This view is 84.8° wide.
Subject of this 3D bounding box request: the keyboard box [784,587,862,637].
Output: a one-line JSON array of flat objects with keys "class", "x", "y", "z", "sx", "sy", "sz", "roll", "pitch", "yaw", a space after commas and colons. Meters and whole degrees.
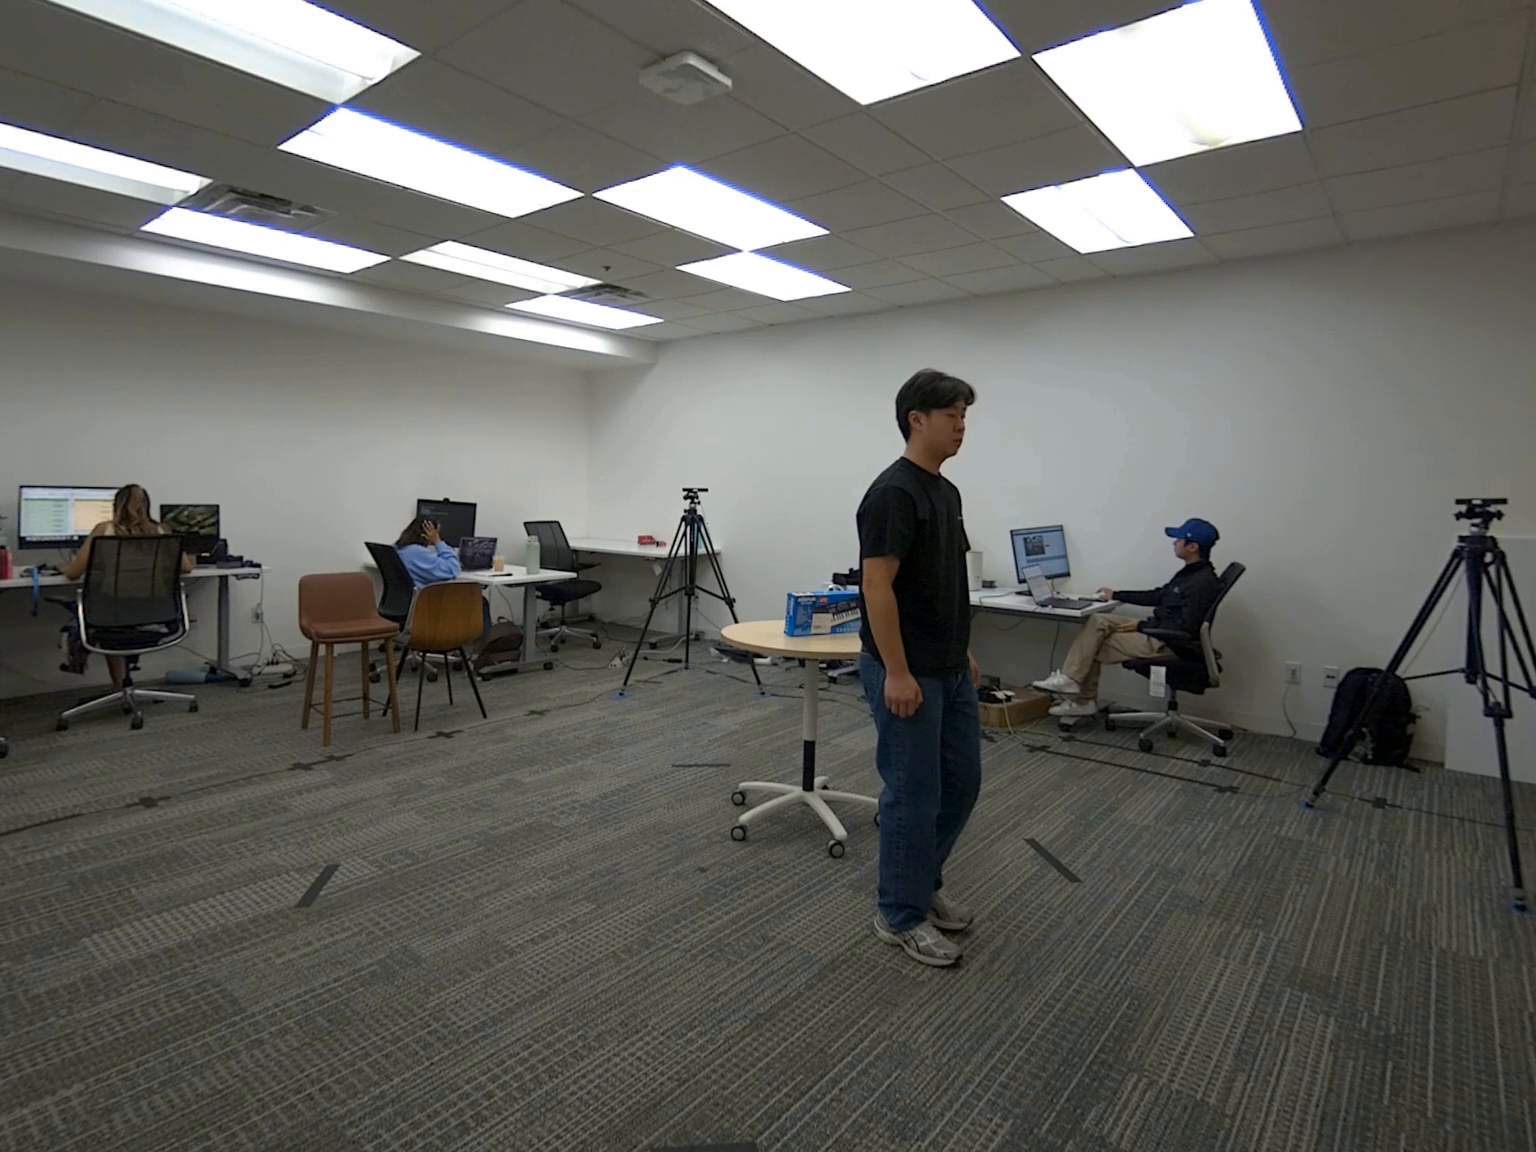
[{"class": "keyboard box", "x": 0.258, "y": 0.151, "z": 3.572, "sx": 0.425, "sy": 0.175, "sz": 0.061, "roll": -1, "pitch": 10, "yaw": -32}]
